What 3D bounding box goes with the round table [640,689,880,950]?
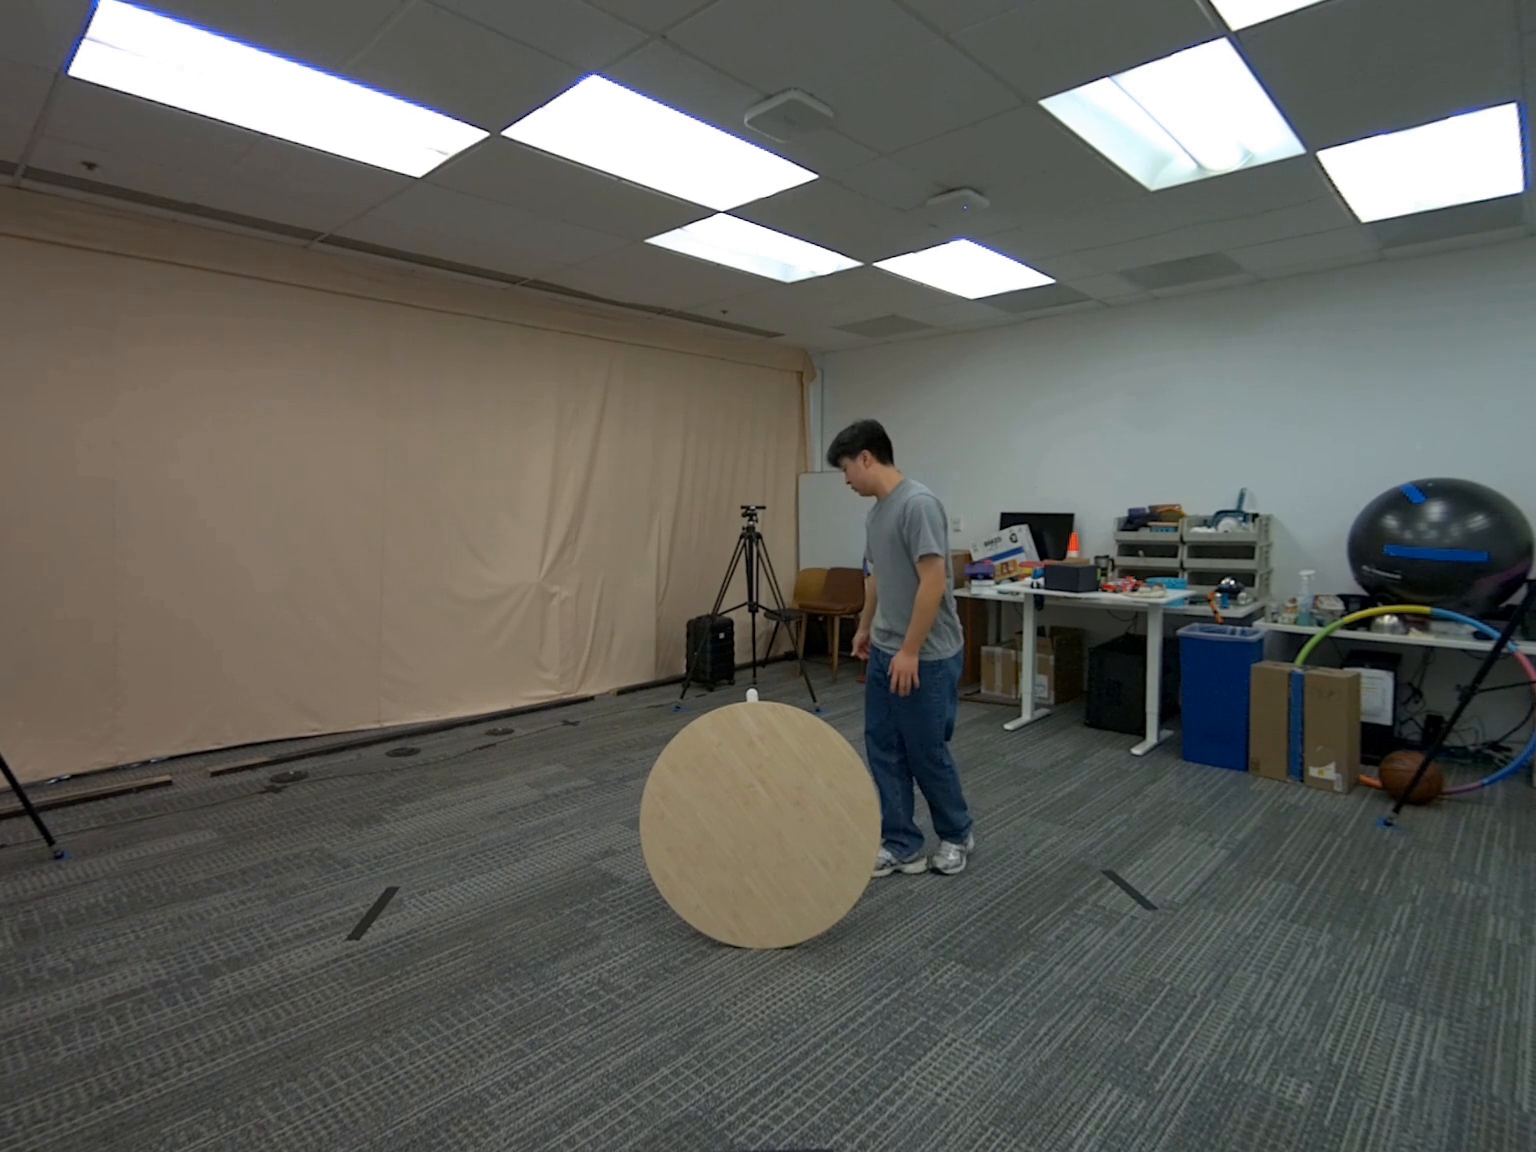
[{"bbox_3d":[-0.029,0.804,3.062,0.766,0.765,0.791,0,-2,1],"label":"round table"}]
